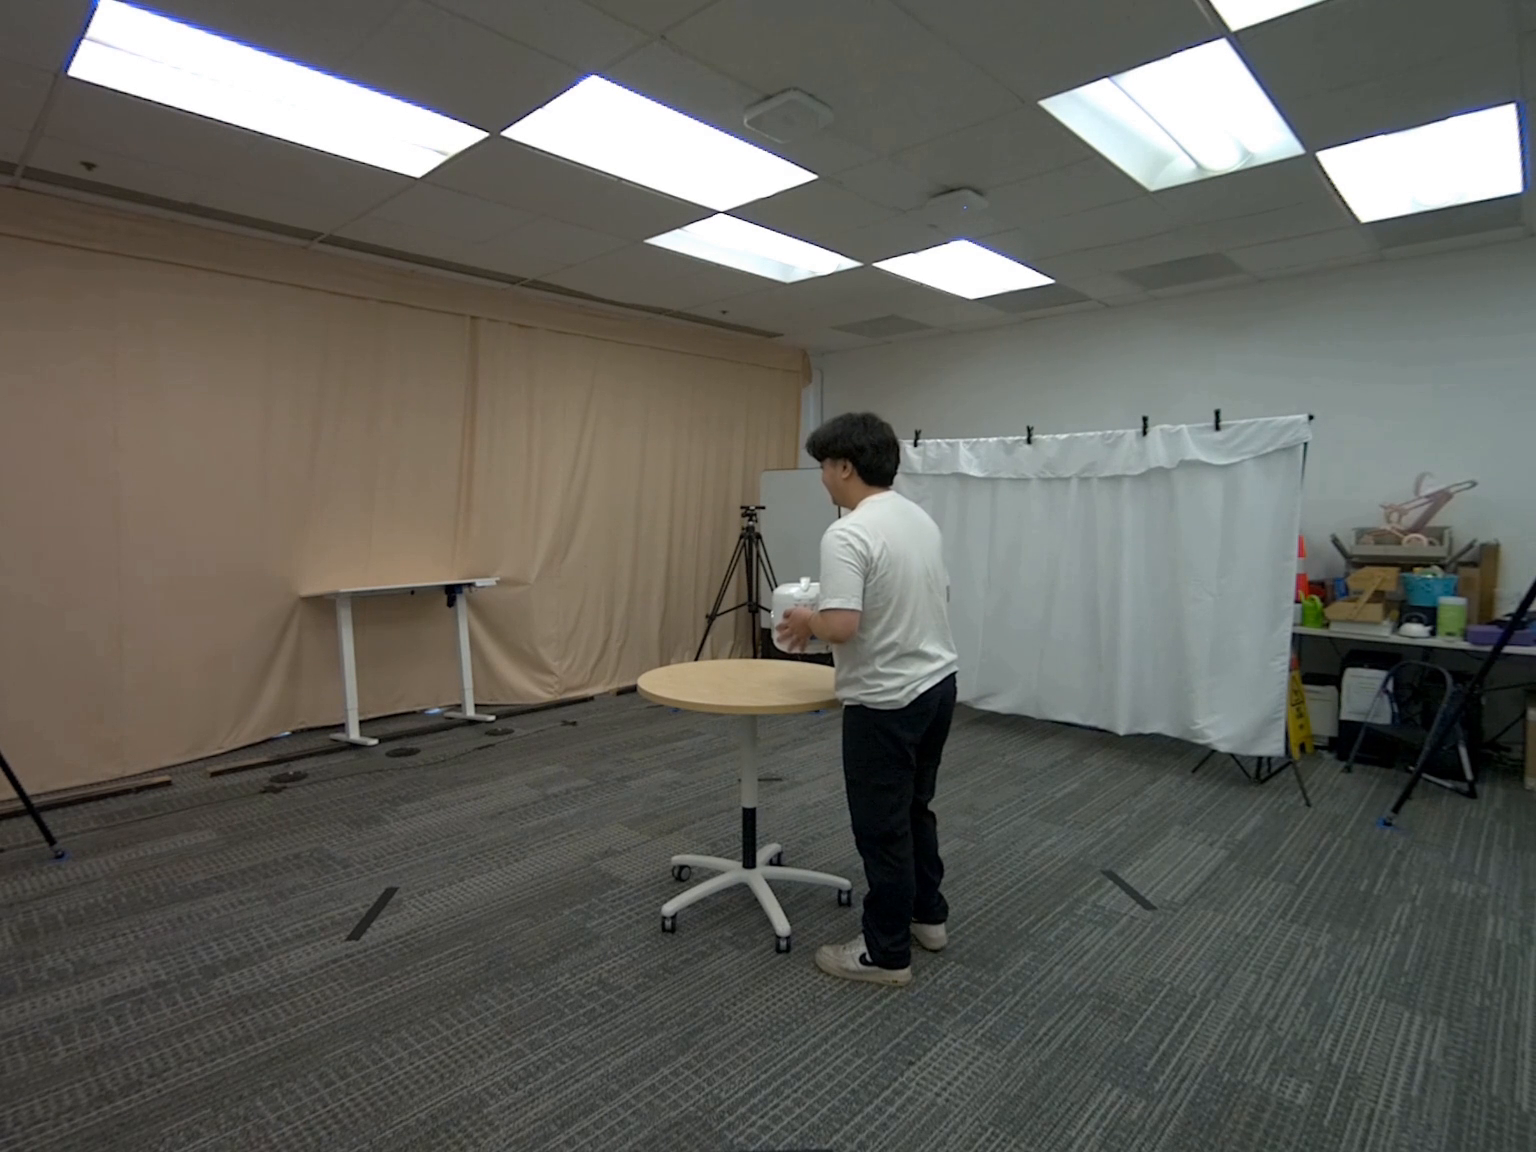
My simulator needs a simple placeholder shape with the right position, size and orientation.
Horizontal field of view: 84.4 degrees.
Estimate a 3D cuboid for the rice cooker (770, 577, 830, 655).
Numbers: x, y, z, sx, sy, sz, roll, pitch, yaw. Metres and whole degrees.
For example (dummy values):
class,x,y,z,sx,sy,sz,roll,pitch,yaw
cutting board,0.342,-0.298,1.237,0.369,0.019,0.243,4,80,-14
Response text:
class,x,y,z,sx,sy,sz,roll,pitch,yaw
rice cooker,0.123,0.120,2.680,0.219,0.232,0.219,0,3,6
